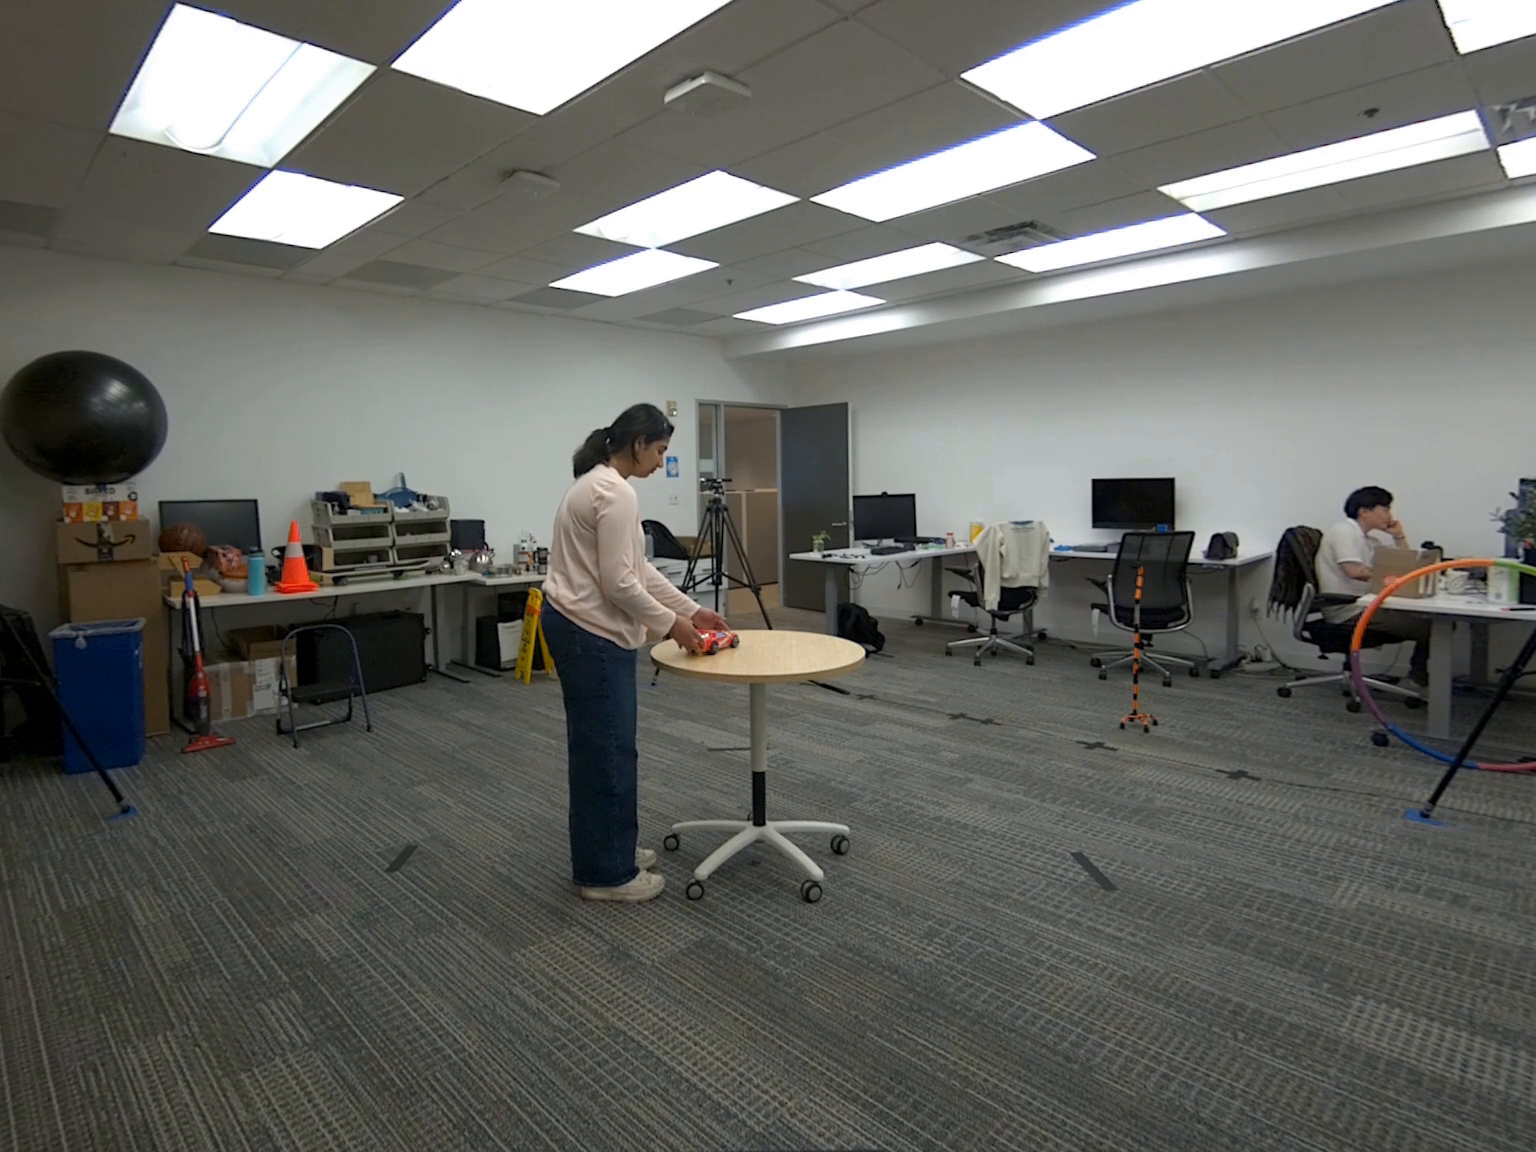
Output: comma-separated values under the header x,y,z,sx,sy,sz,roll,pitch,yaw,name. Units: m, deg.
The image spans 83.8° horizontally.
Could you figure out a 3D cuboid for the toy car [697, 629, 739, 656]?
x,y,z,sx,sy,sz,roll,pitch,yaw,name
-0.205,0.235,3.051,0.134,0.083,0.247,4,-3,31,toy car
